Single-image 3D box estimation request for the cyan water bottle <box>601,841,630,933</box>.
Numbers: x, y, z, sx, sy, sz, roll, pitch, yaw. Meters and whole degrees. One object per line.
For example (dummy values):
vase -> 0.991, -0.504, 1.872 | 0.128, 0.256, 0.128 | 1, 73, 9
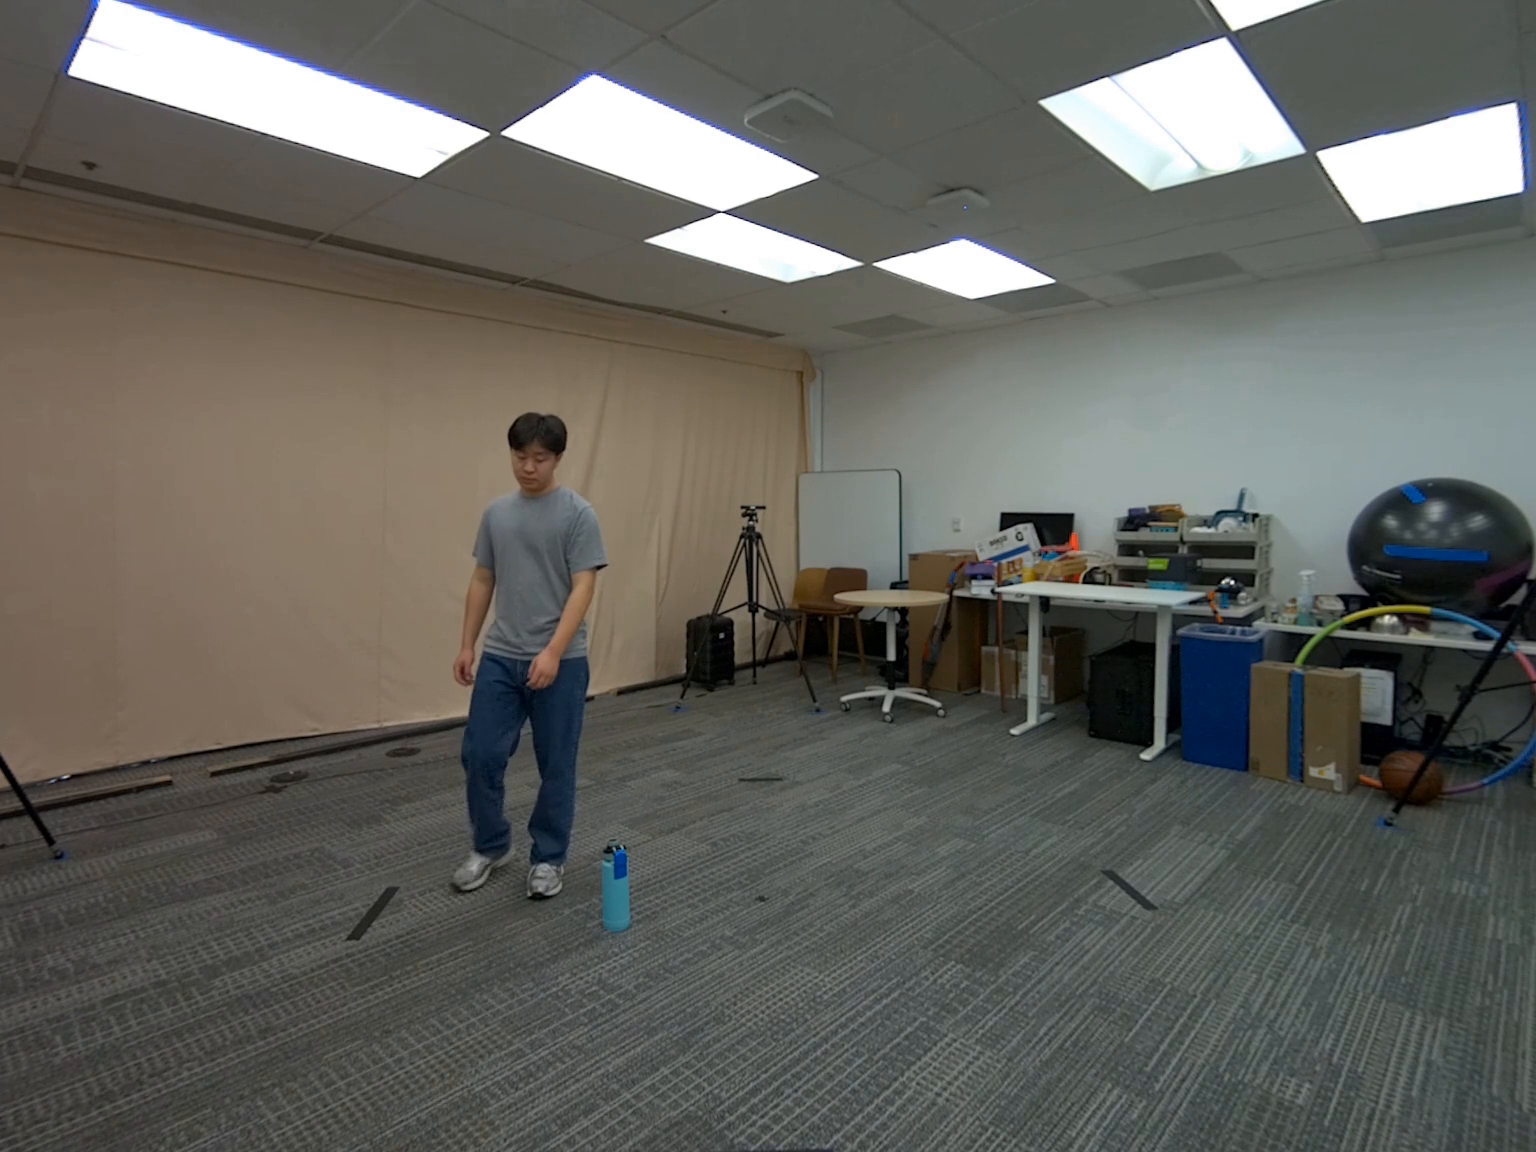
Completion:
cyan water bottle -> -0.506, 1.024, 2.789 | 0.092, 0.283, 0.092 | 0, 3, -2
